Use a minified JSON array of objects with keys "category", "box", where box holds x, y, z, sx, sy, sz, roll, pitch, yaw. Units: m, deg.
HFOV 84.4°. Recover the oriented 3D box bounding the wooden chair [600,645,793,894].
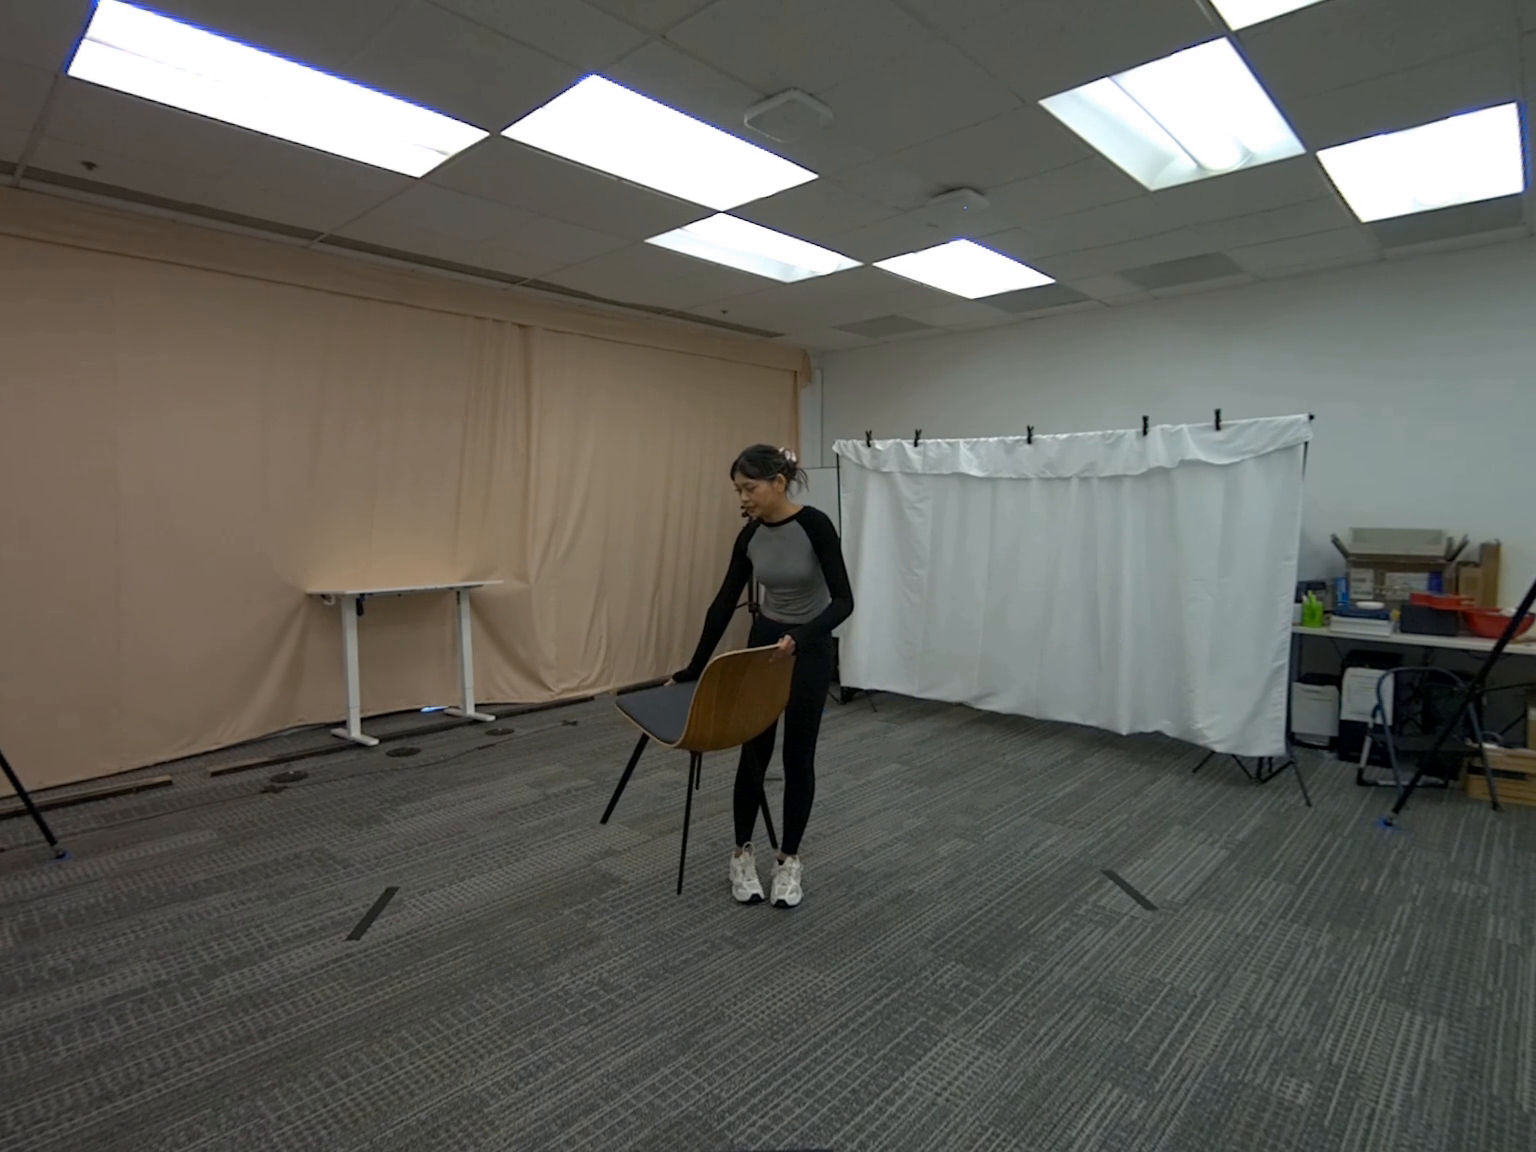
[{"category":"wooden chair","box":[-0.241,0.525,2.871,0.464,0.870,0.543,-8,25,-42]}]
